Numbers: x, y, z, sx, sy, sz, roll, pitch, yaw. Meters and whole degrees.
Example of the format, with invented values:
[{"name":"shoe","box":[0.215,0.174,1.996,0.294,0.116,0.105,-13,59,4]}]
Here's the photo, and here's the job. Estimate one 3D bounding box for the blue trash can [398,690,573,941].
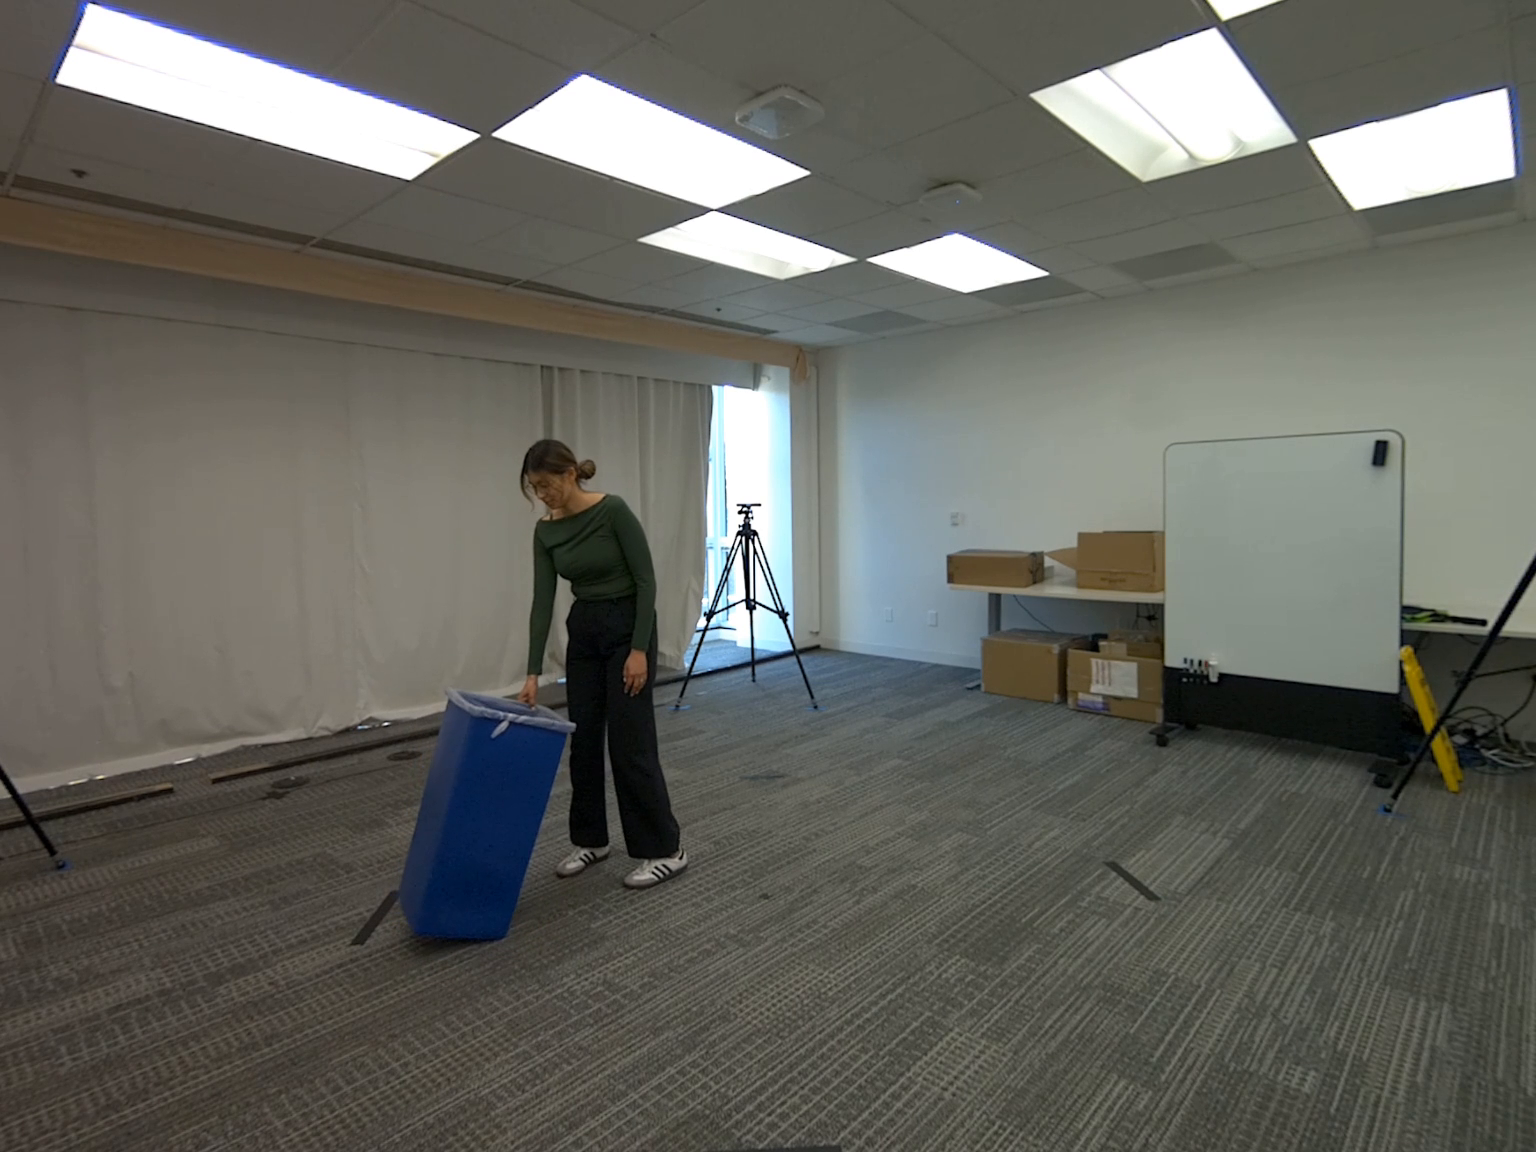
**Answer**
[{"name":"blue trash can","box":[-0.971,0.788,2.816,0.362,0.715,0.390,19,-7,-33]}]
